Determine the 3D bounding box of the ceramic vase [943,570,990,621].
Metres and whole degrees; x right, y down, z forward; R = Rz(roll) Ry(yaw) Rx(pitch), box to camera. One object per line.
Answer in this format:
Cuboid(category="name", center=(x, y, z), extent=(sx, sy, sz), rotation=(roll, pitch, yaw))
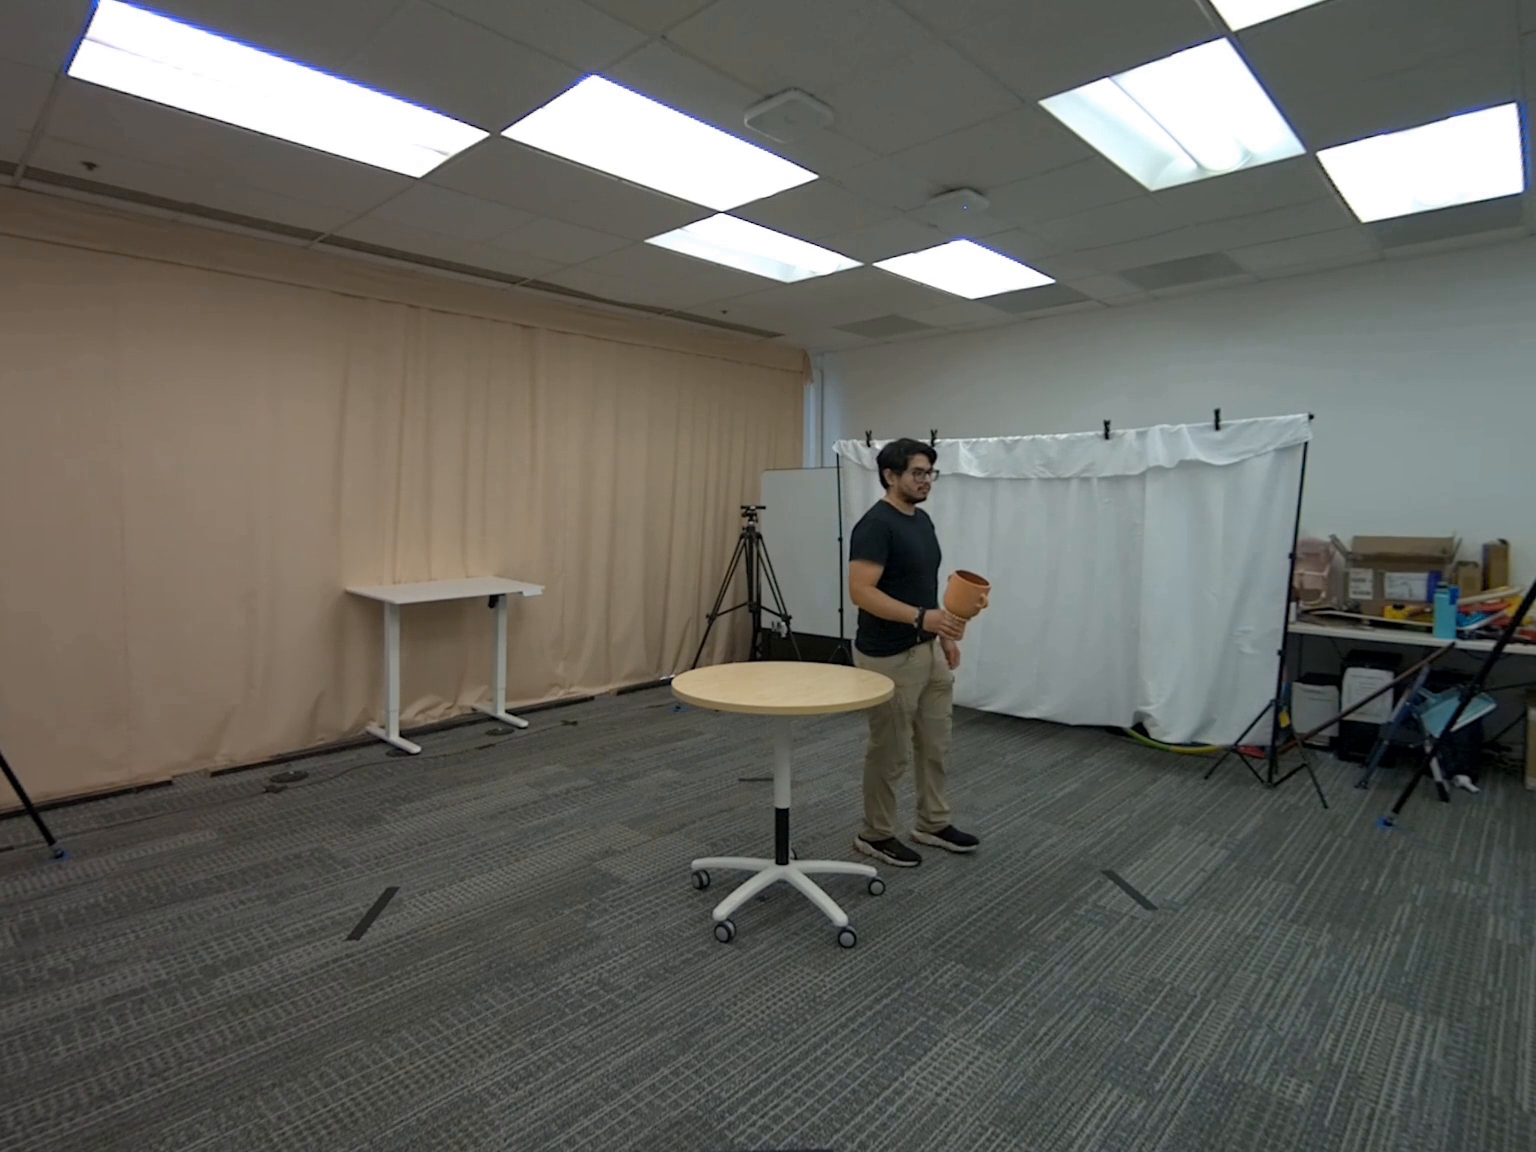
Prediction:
Cuboid(category="ceramic vase", center=(0.660, 0.105, 2.901), extent=(0.135, 0.219, 0.158), rotation=(21, 20, 4))
